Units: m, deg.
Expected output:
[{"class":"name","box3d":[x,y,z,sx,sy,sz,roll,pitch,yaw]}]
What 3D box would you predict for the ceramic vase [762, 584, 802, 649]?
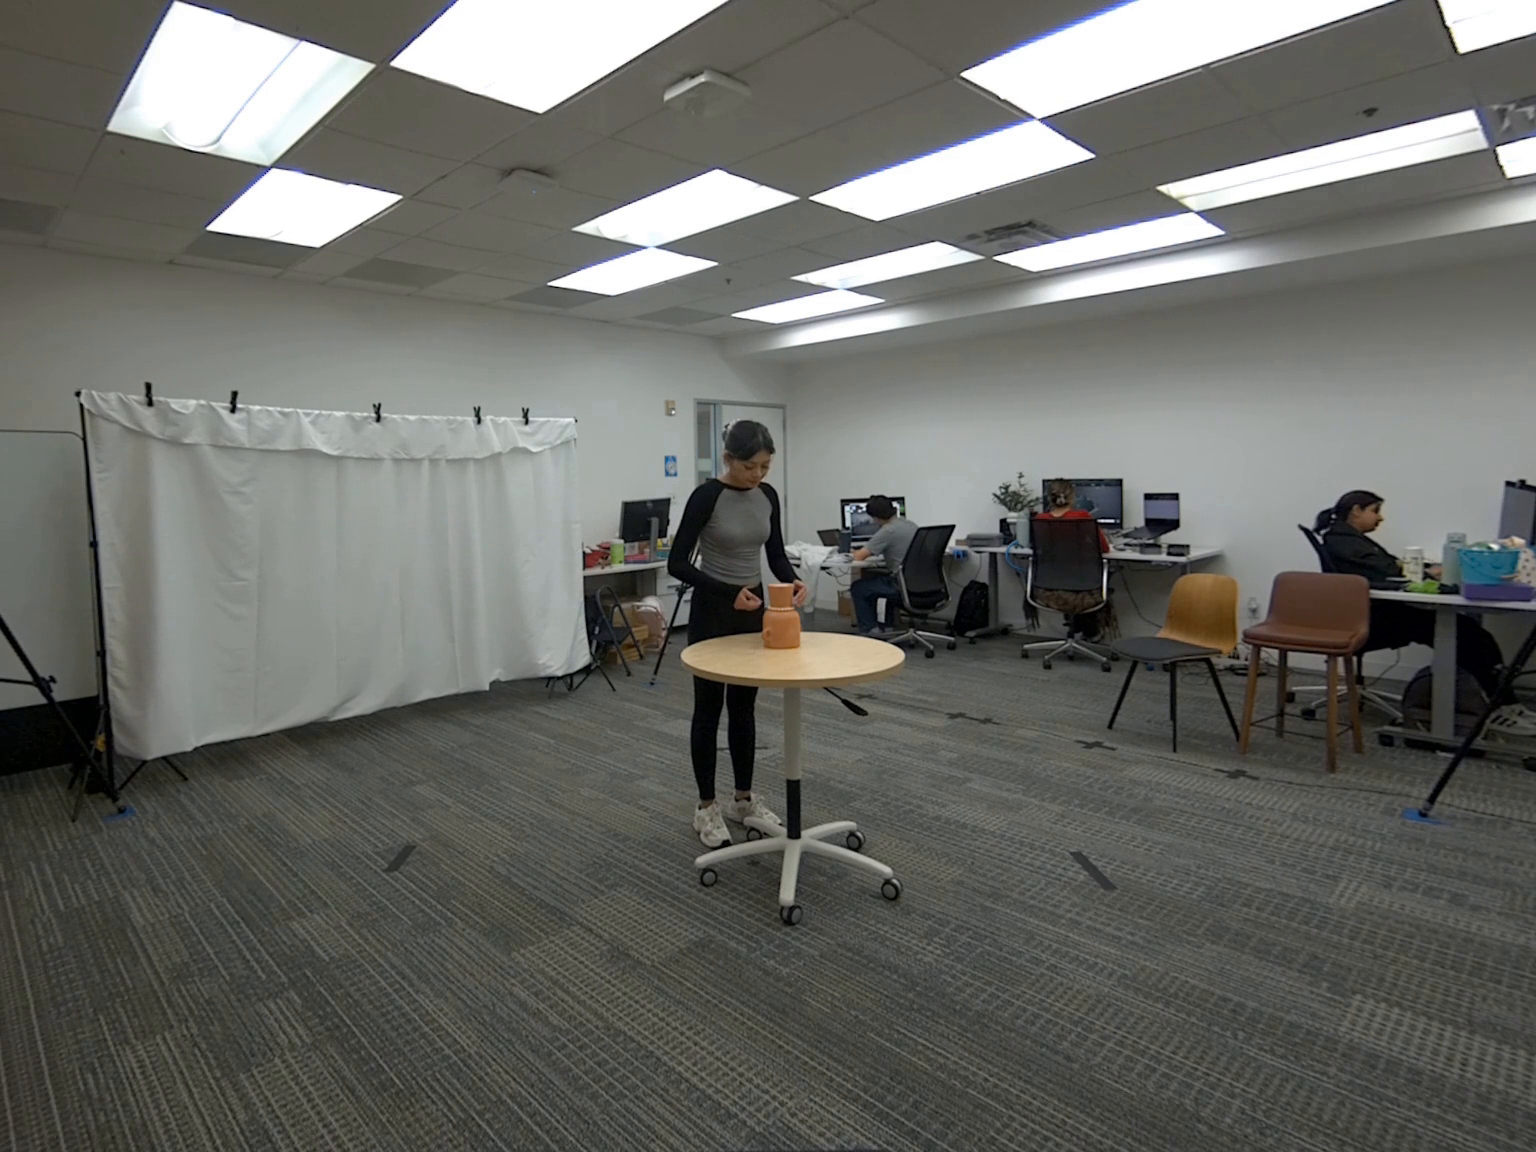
[{"class":"ceramic vase","box3d":[0.043,0.134,3.073,0.135,0.220,0.158,-4,0,5]}]
